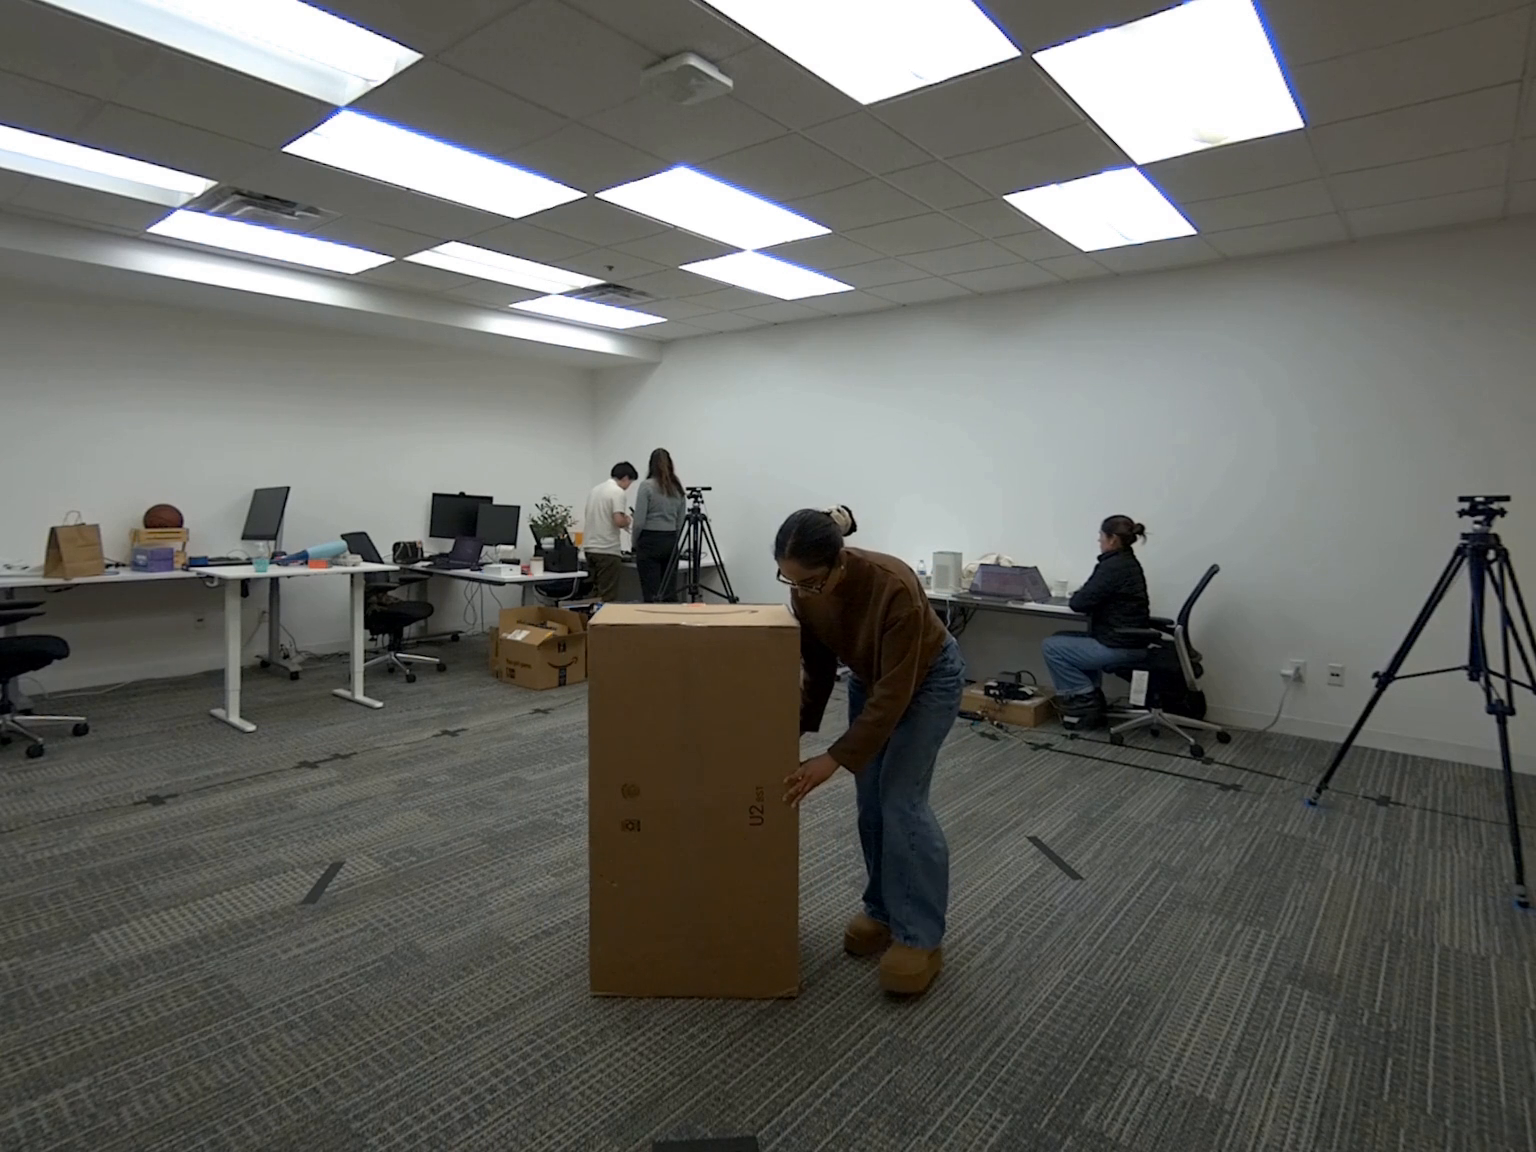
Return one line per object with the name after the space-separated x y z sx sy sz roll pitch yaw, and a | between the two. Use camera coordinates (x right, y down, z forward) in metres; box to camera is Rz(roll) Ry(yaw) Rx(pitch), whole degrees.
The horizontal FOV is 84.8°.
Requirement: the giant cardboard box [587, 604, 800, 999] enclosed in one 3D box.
-0.221 0.617 2.501 0.576 1.023 0.429 0 3 -3 | giant cardboard box
